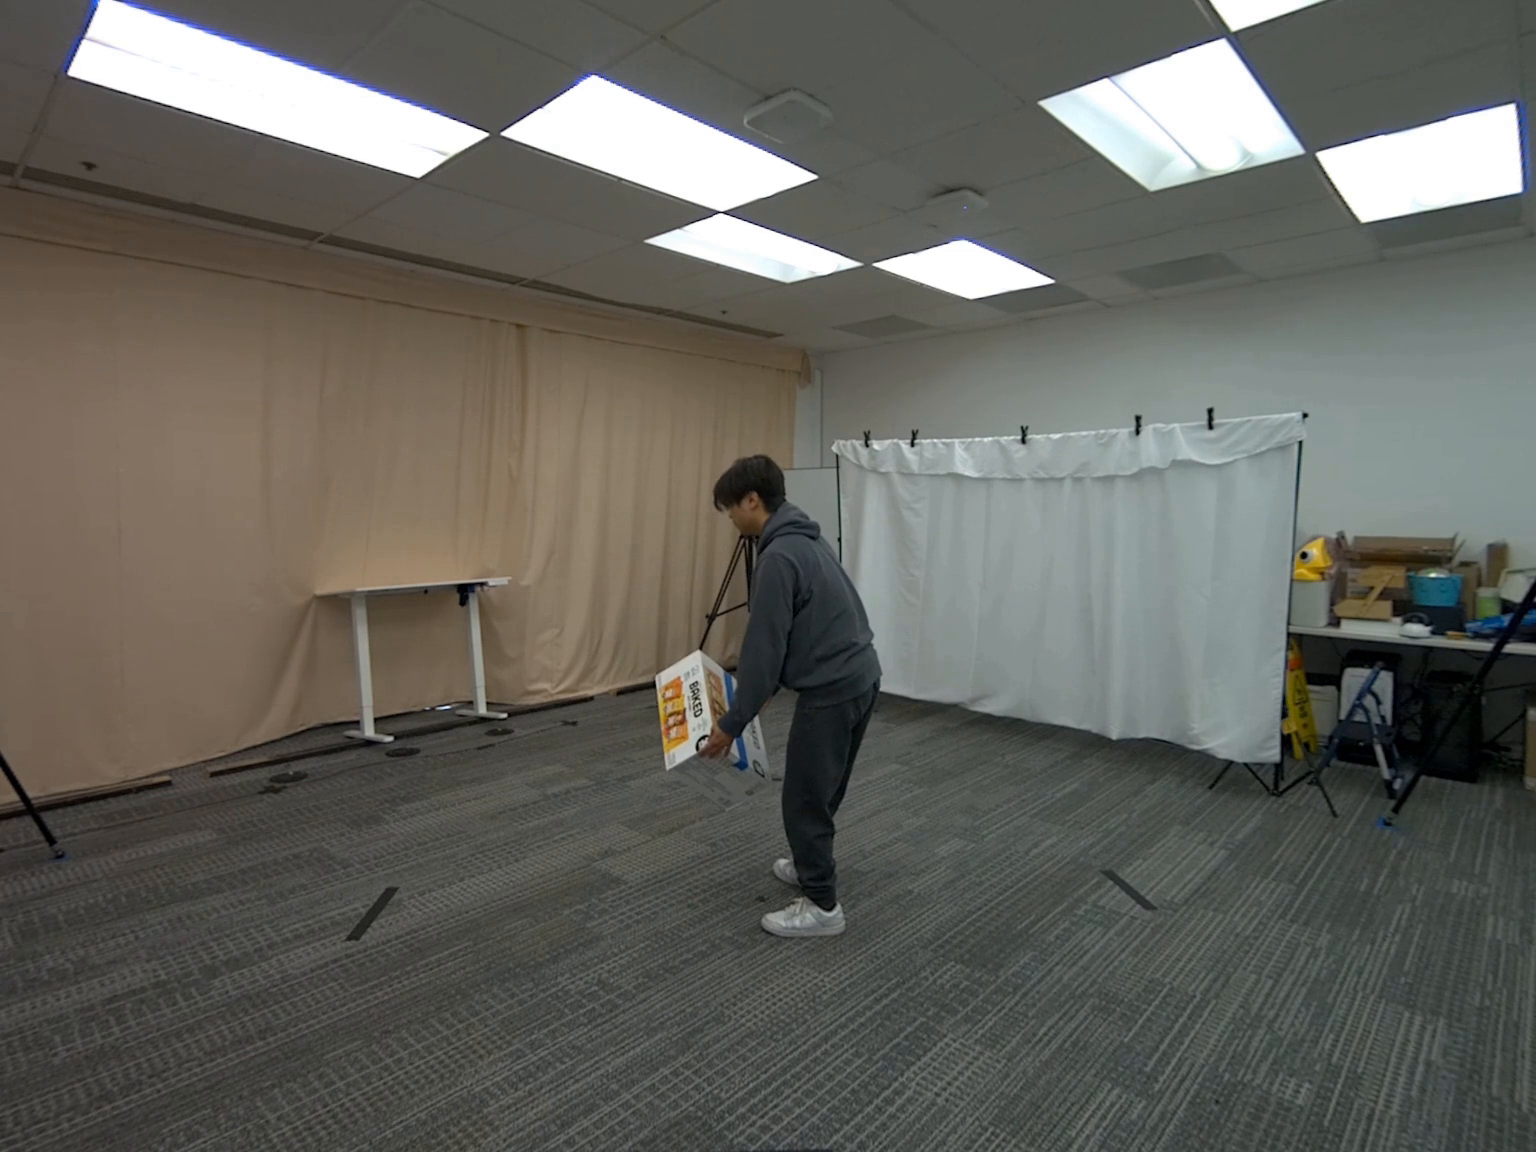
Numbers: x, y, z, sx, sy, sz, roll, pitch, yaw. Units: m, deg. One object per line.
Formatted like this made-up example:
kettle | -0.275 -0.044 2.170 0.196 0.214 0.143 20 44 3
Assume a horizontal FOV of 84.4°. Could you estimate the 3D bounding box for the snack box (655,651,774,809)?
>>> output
snack box | -0.193 0.538 2.933 0.207 0.415 0.329 -32 -51 16
